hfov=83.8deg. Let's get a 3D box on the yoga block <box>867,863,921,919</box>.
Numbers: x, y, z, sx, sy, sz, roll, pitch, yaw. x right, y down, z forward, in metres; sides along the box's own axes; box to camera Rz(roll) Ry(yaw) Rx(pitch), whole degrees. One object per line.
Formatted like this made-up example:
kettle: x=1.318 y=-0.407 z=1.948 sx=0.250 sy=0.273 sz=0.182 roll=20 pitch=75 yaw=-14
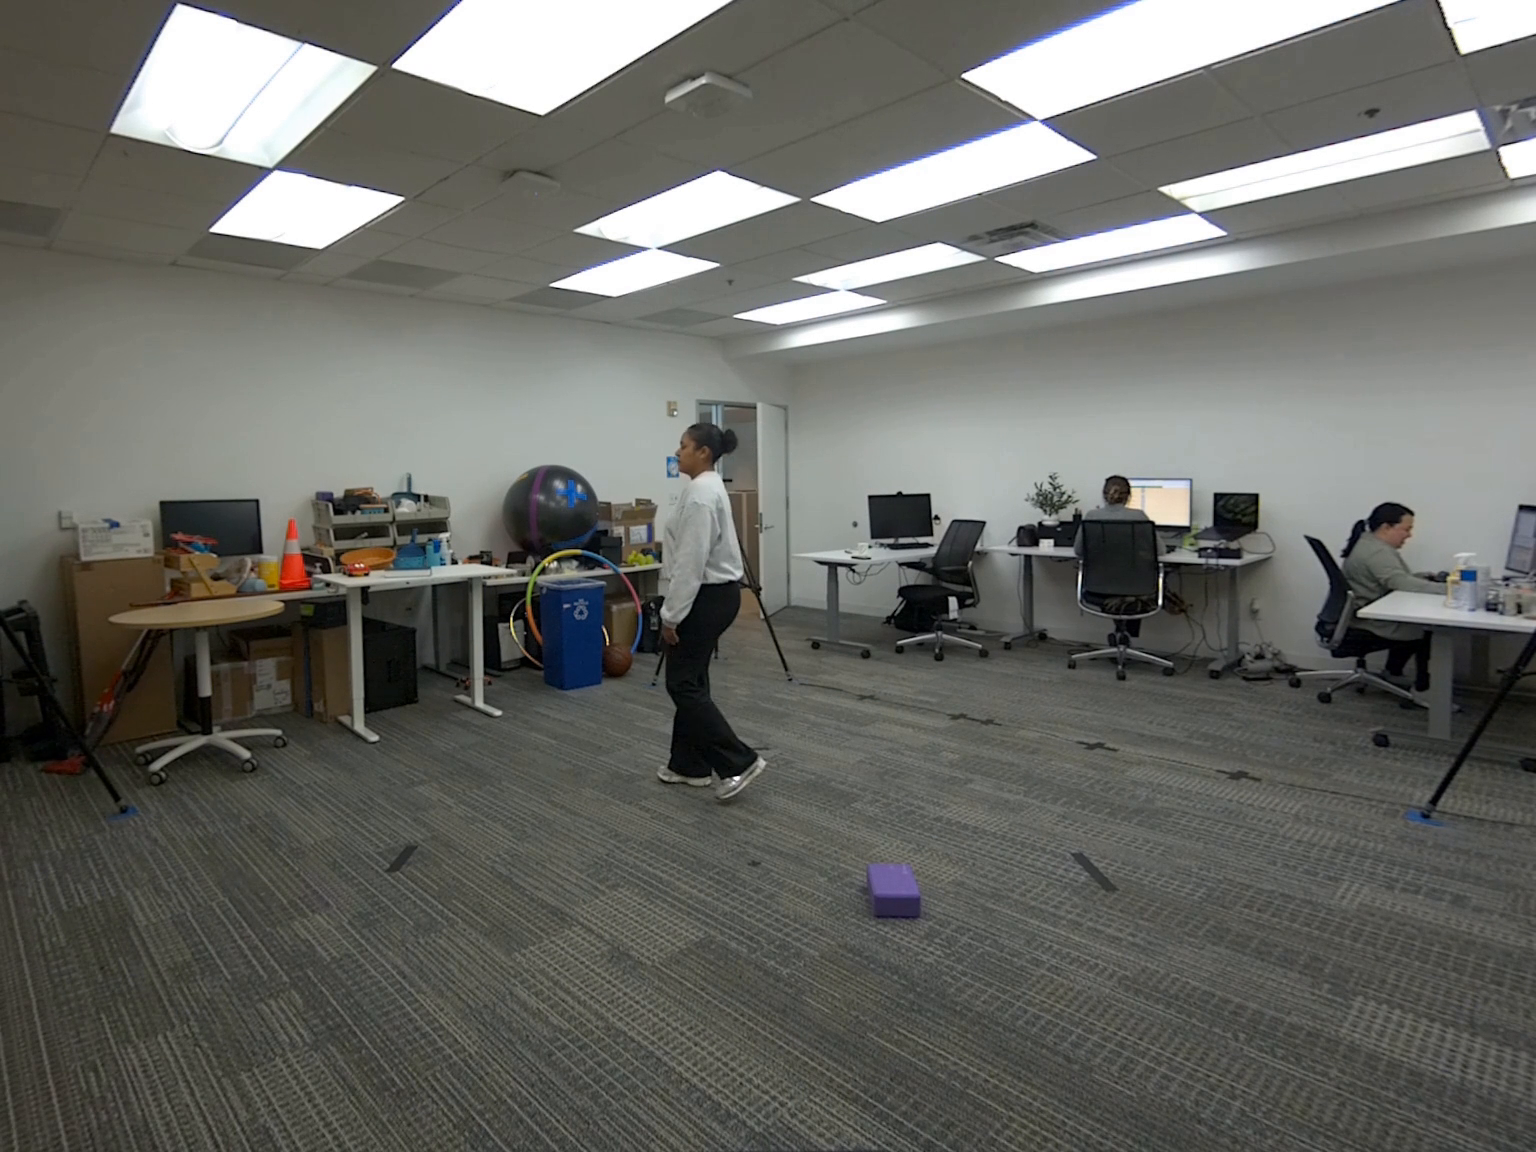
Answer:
yoga block: x=0.416 y=1.031 z=2.809 sx=0.149 sy=0.076 sz=0.229 roll=-2 pitch=6 yaw=3
